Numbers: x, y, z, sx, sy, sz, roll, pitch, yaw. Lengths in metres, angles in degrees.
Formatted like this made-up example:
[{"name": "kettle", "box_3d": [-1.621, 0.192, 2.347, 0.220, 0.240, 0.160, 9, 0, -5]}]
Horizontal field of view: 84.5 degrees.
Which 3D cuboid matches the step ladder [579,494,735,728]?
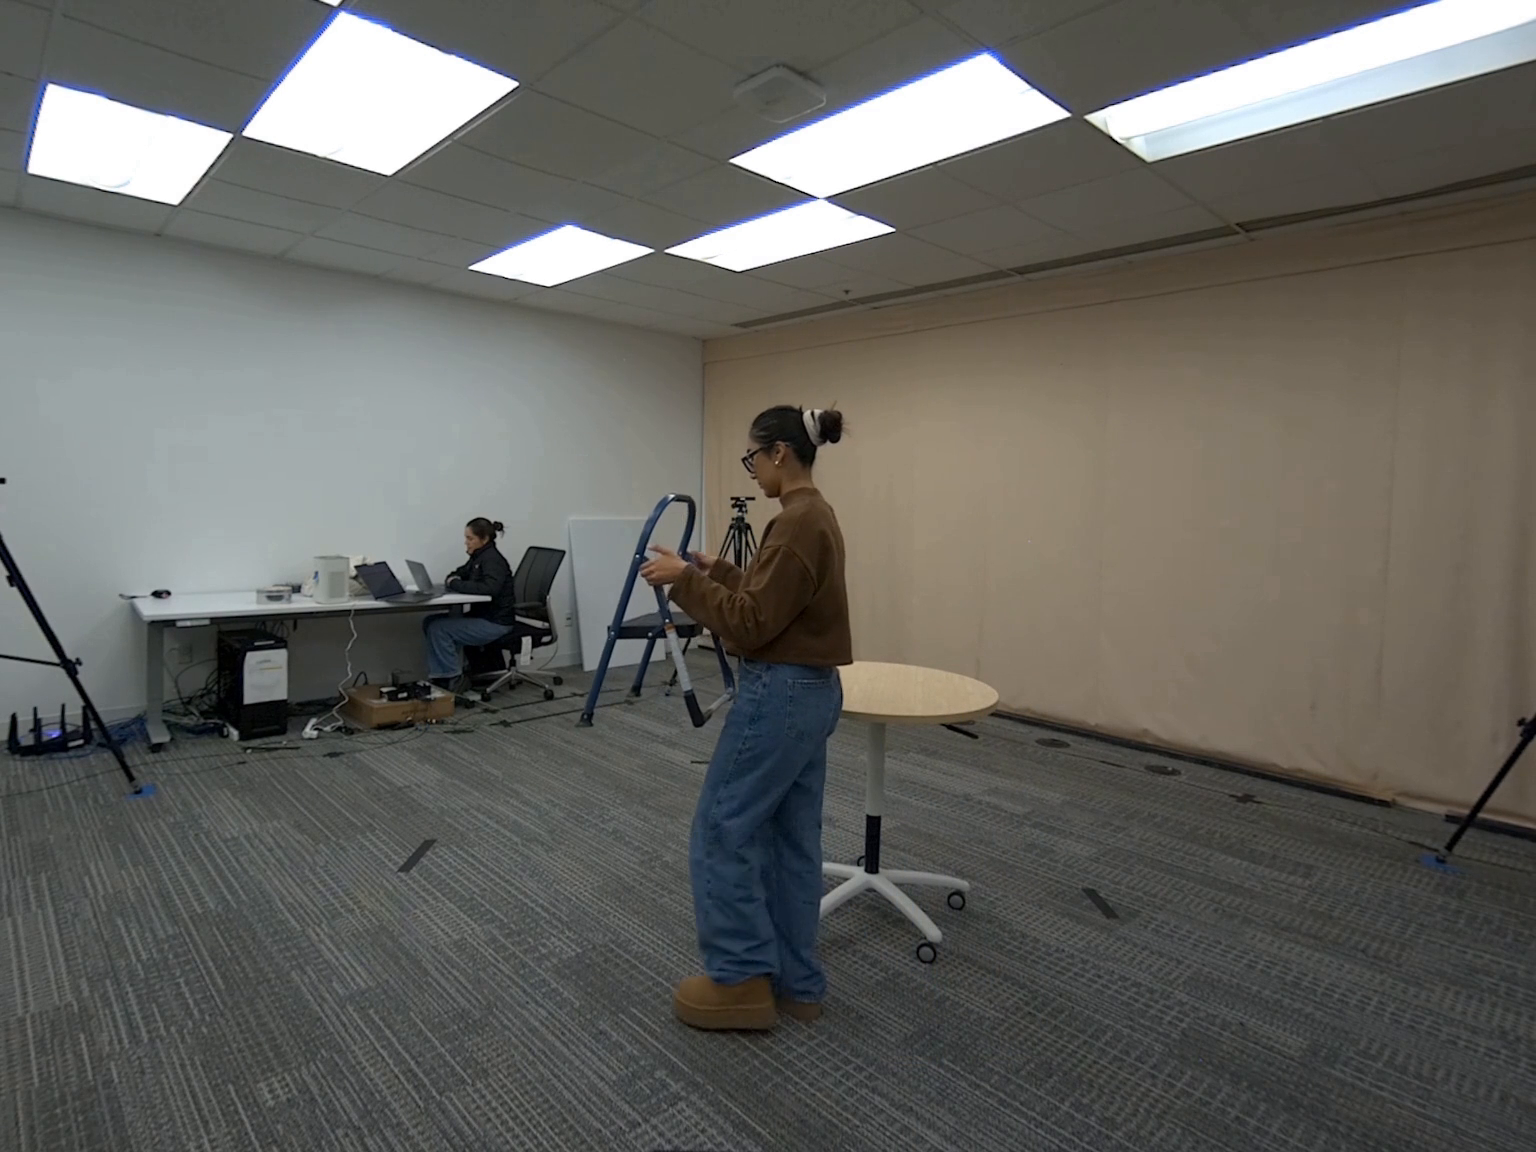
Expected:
[{"name": "step ladder", "box_3d": [-0.307, 0.083, 2.366, 0.352, 0.605, 0.427, -2, 2, 10]}]
